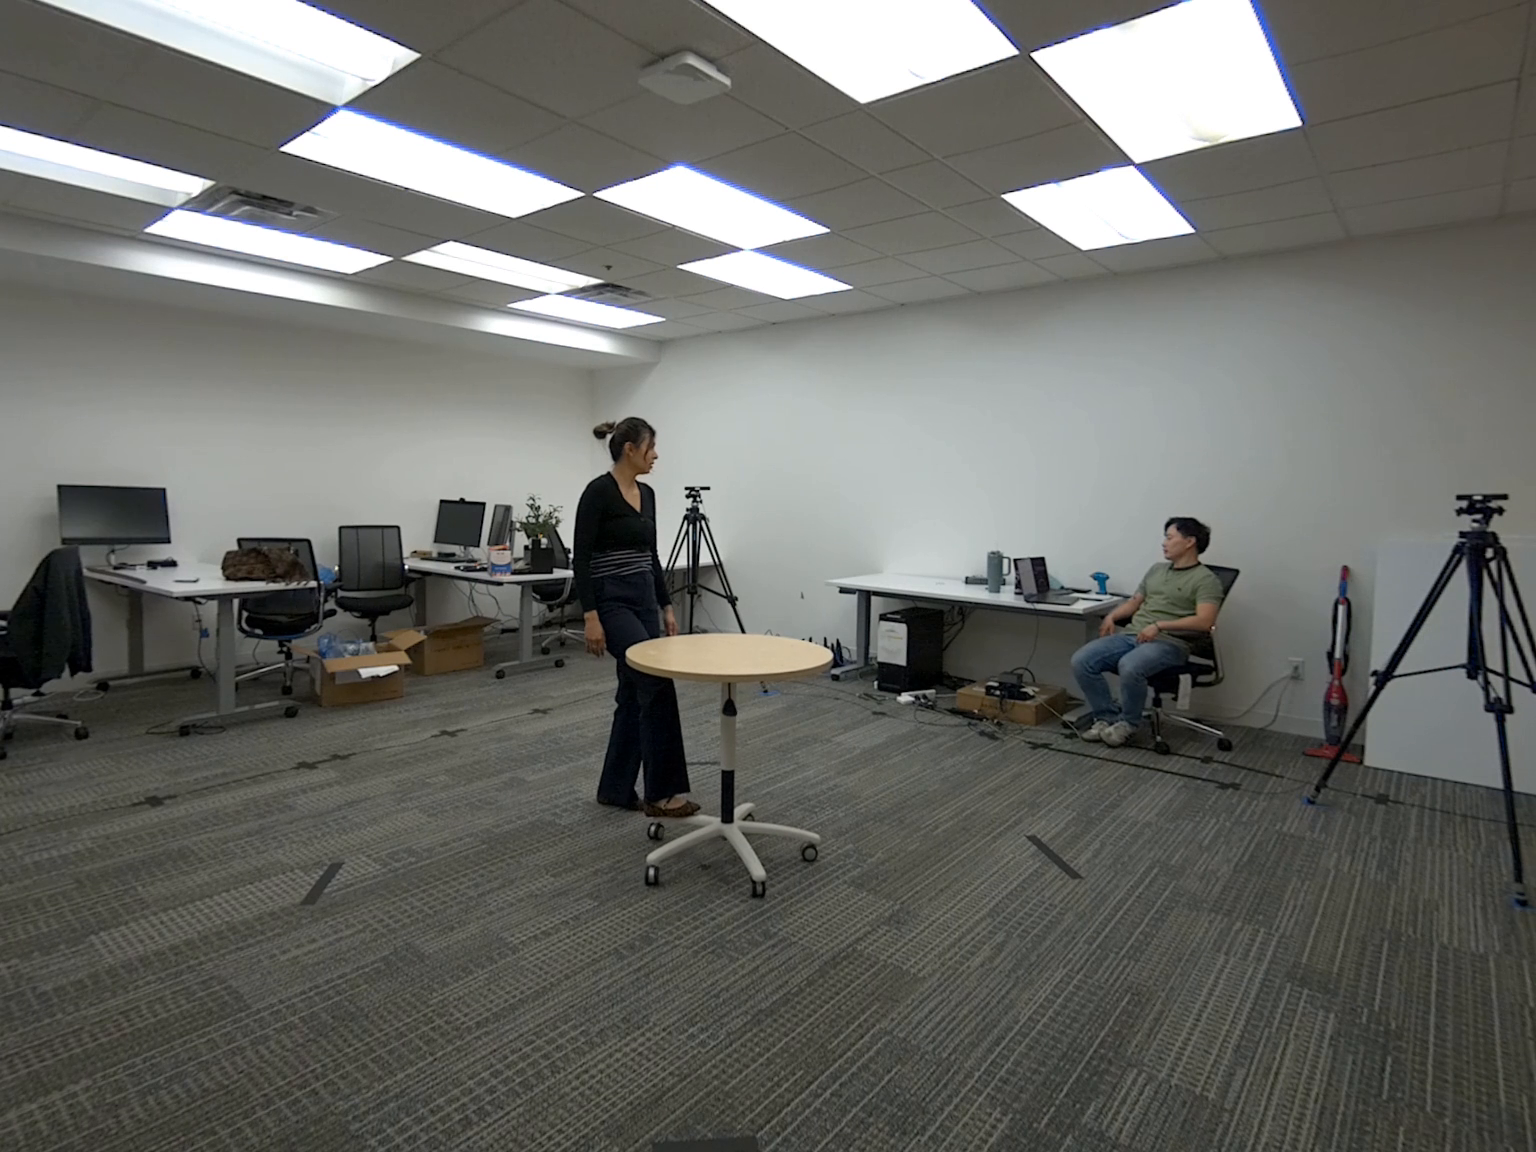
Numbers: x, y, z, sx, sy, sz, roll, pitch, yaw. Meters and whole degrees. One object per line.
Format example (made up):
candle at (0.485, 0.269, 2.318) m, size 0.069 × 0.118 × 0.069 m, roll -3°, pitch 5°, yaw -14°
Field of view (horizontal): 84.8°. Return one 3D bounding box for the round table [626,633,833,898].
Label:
round table at (-0.154, 0.672, 3.174) m, size 0.763 × 0.791 × 0.768 m, roll 1°, pitch 4°, yaw -2°
